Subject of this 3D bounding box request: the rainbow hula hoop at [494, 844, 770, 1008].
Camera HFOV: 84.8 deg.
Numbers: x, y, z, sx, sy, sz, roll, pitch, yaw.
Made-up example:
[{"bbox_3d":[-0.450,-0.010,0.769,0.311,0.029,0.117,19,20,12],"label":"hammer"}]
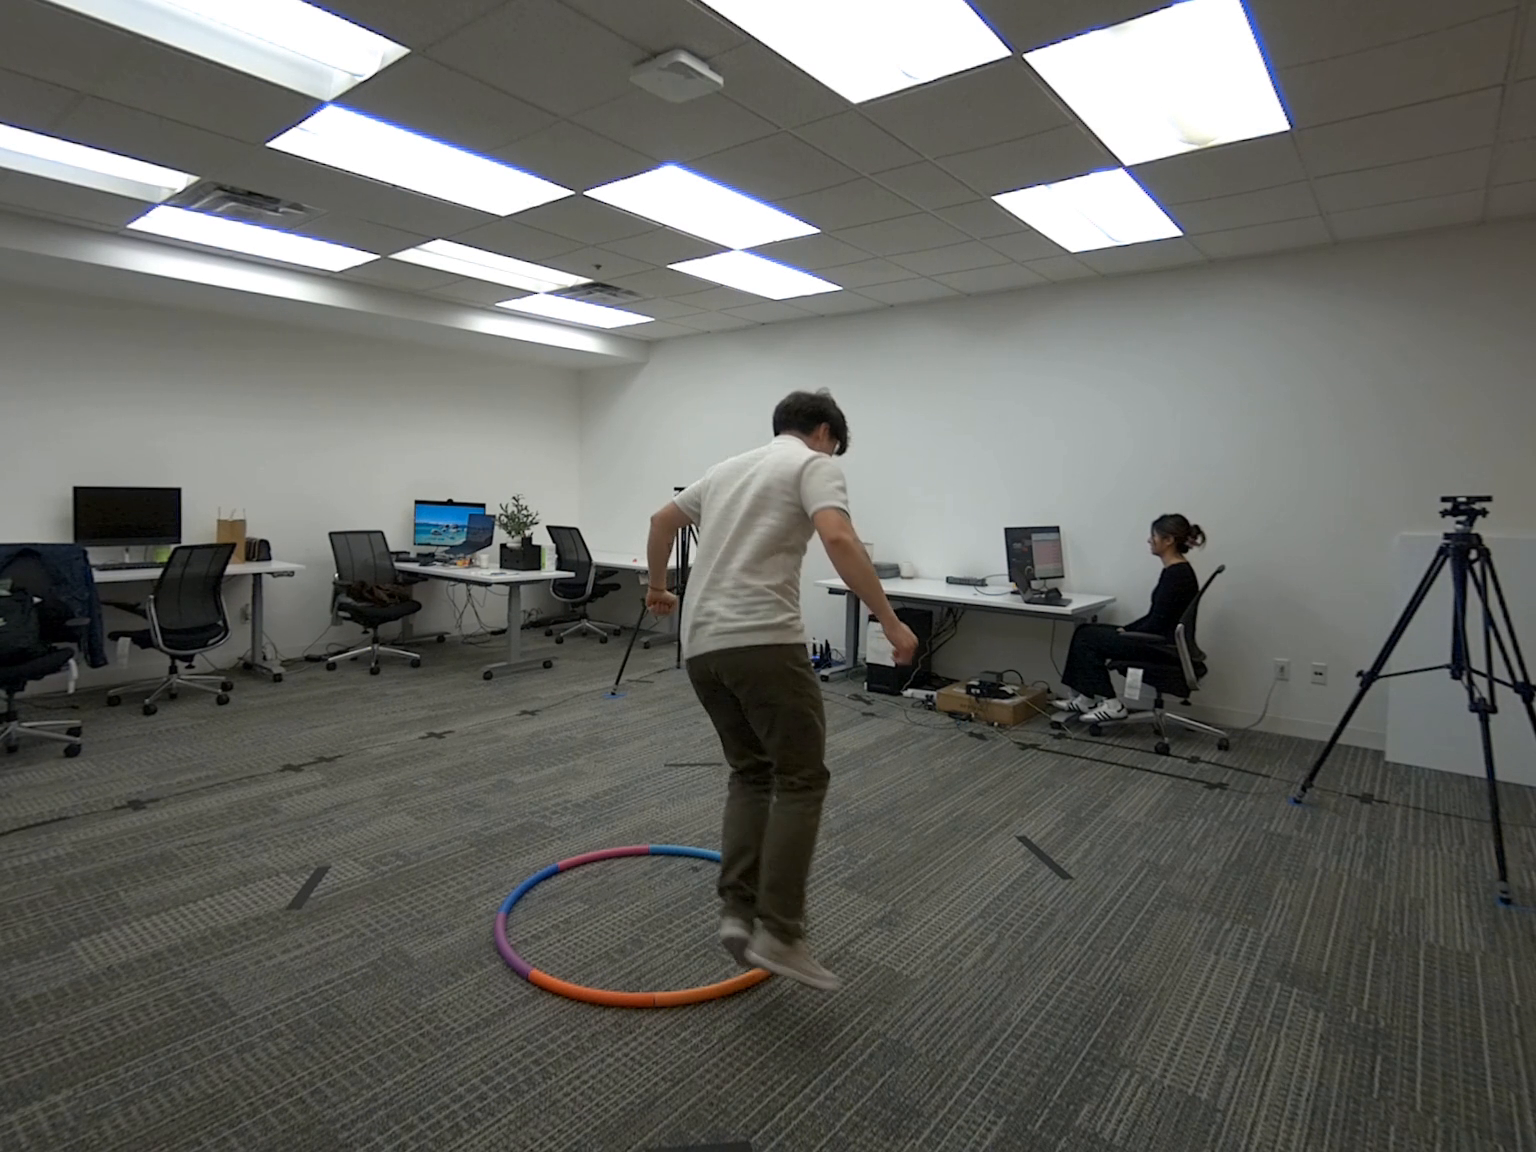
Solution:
[{"bbox_3d":[-0.385,1.071,2.751,0.978,0.035,0.984,0,5,-2],"label":"rainbow hula hoop"}]
